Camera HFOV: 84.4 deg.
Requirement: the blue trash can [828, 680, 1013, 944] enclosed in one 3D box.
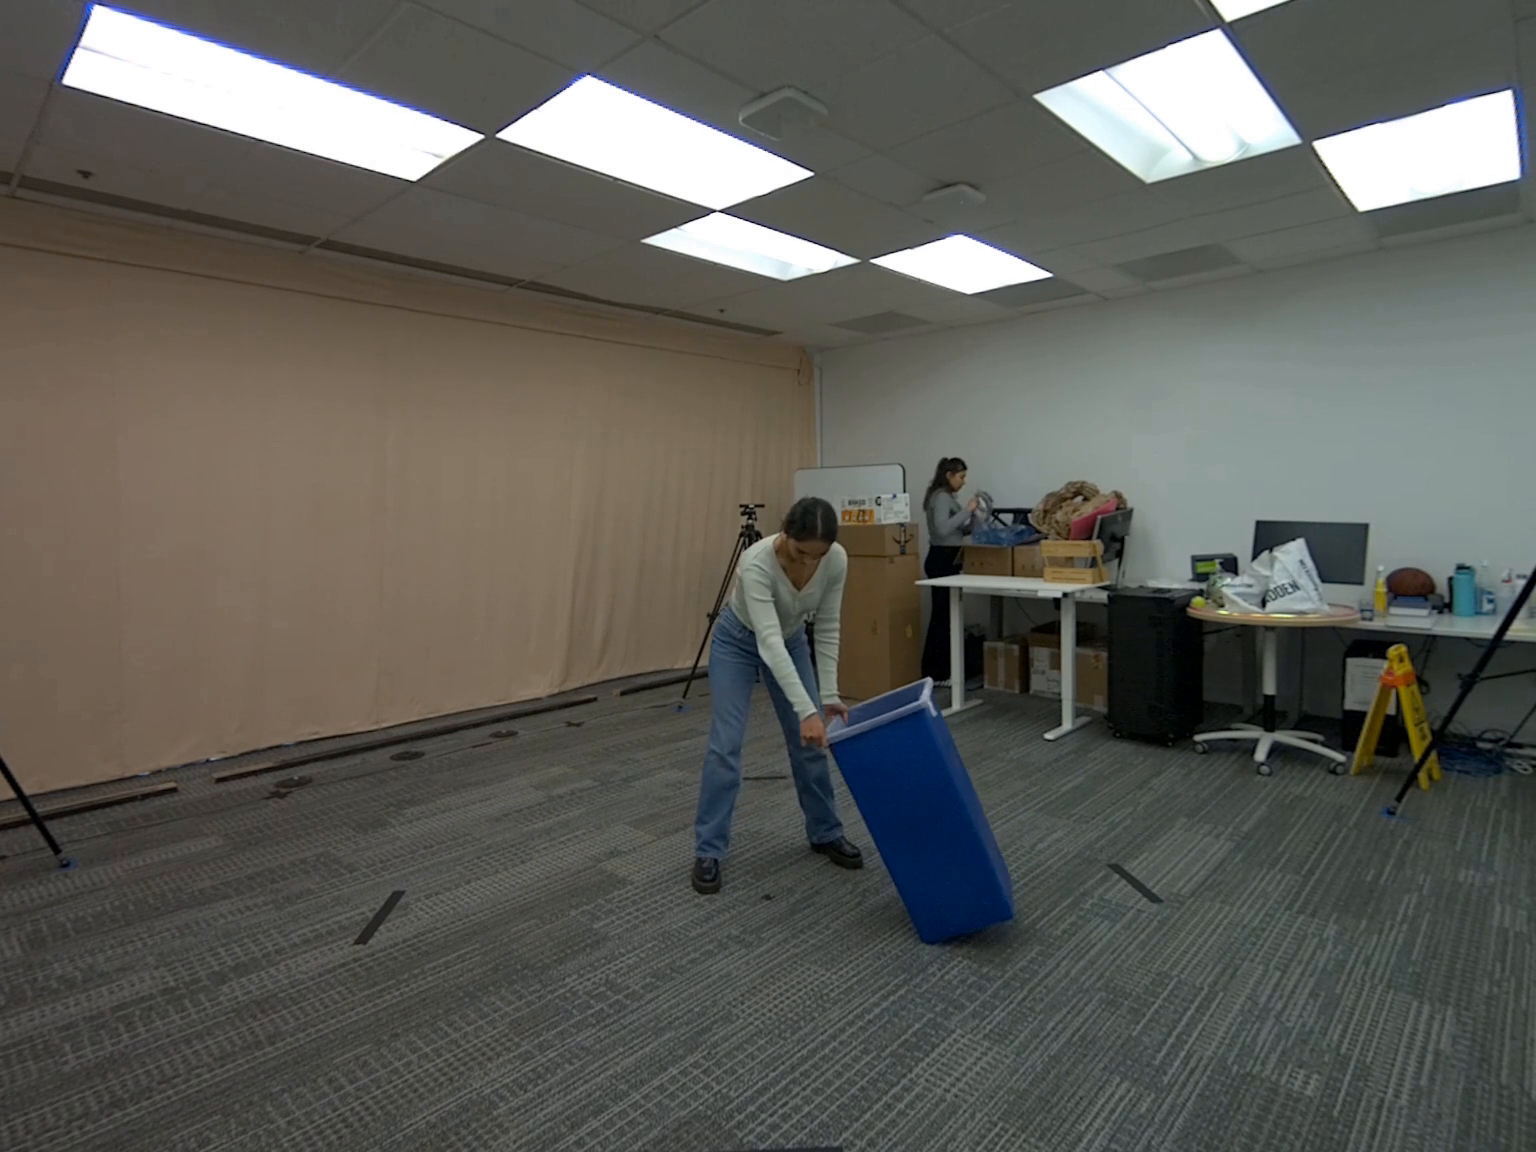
[{"bbox_3d":[0.505,0.764,2.769,0.378,0.717,0.372,-24,-4,15],"label":"blue trash can"}]
